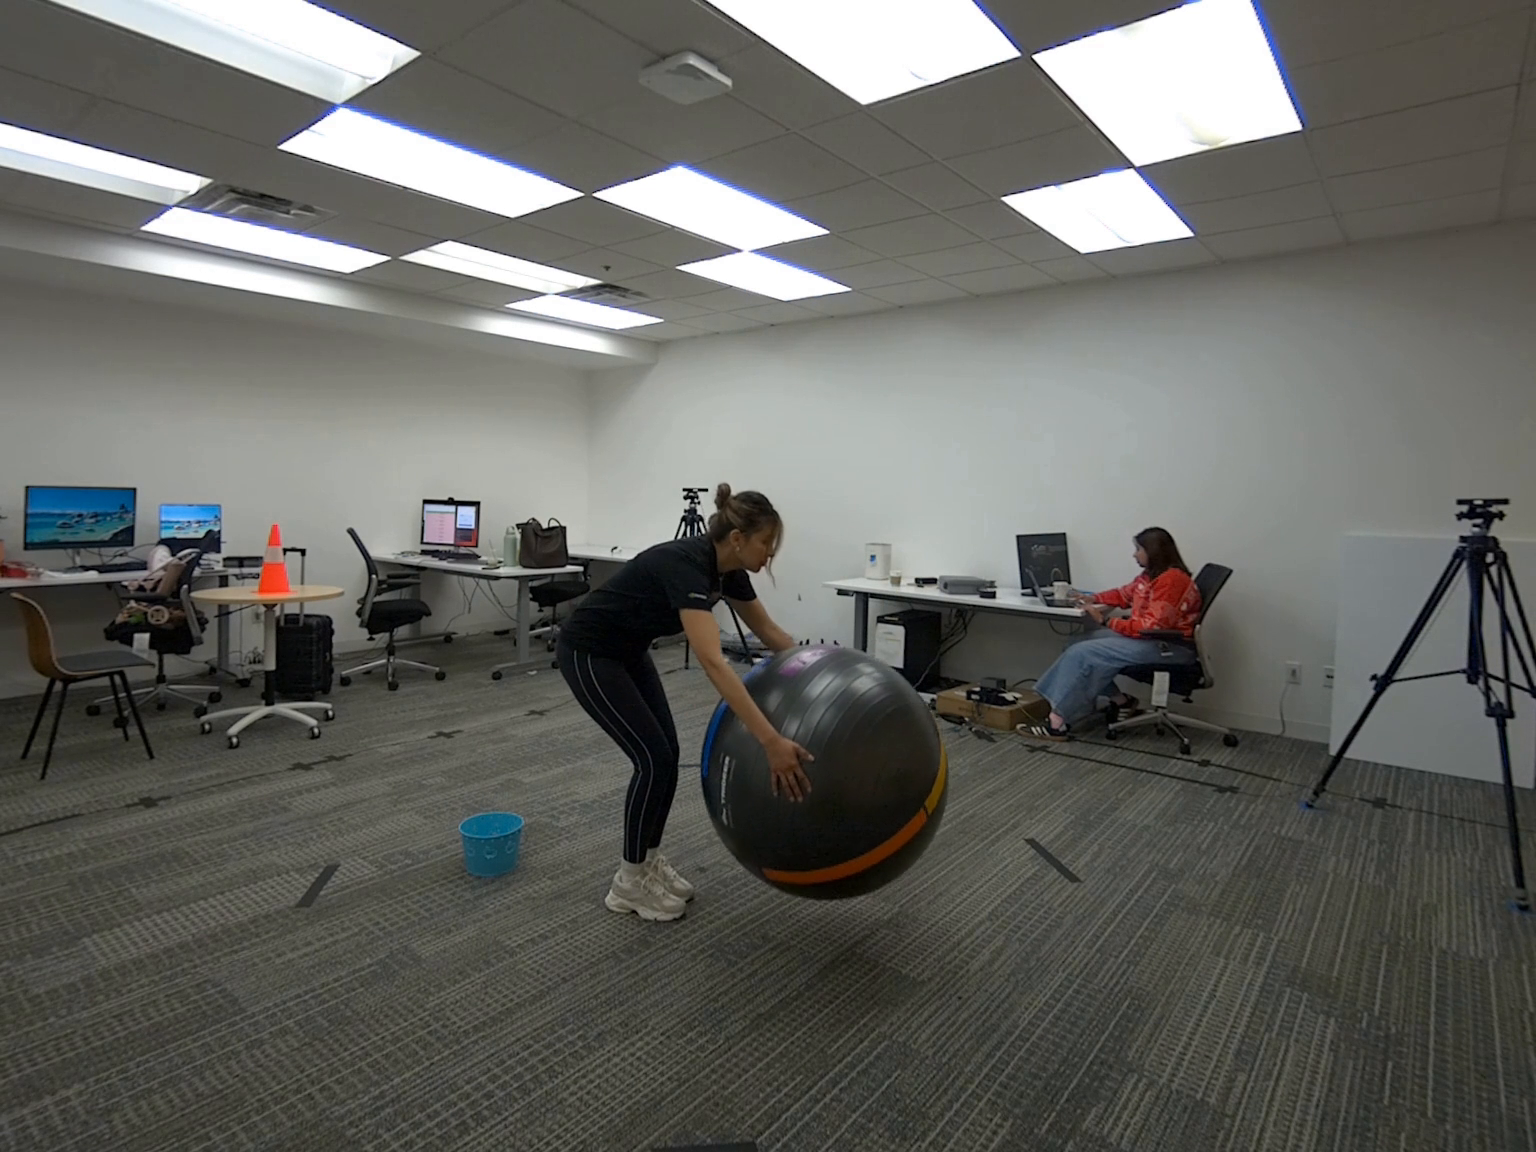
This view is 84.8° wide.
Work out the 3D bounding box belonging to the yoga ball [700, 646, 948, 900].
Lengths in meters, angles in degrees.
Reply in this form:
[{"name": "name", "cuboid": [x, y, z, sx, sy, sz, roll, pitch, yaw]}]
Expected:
[{"name": "yoga ball", "cuboid": [0.166, 0.585, 2.639, 0.757, 0.756, 0.762, 1, 4, -2]}]
